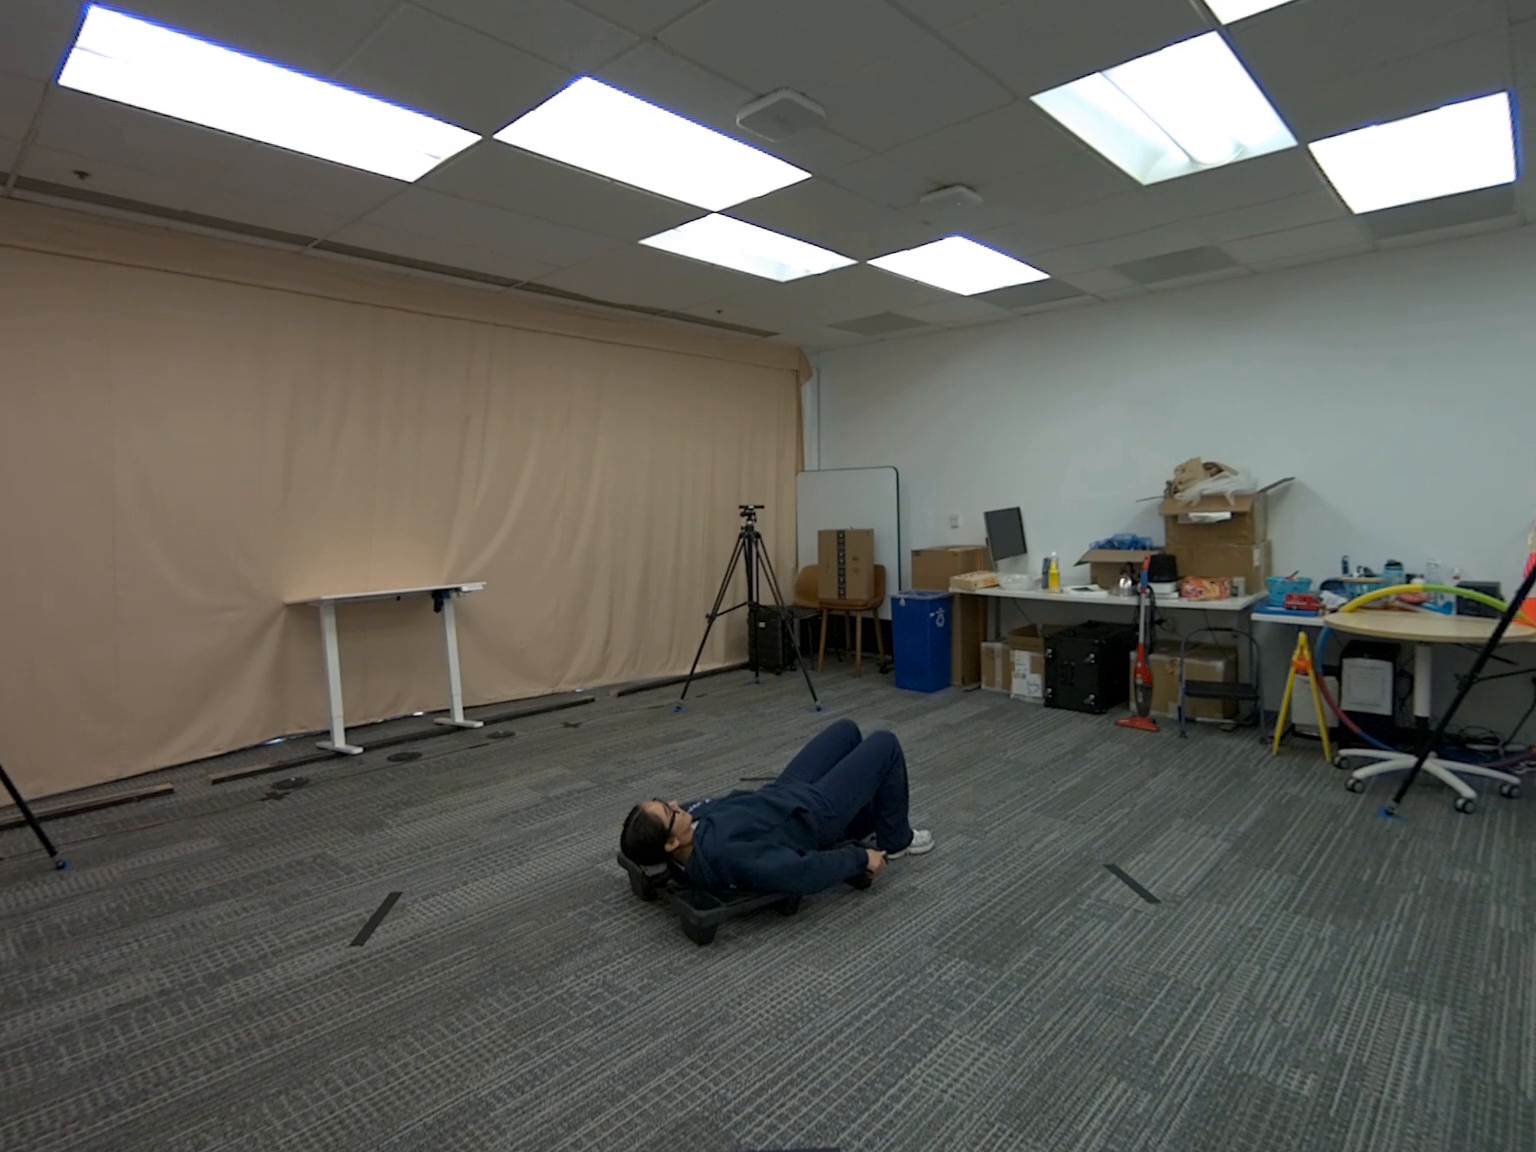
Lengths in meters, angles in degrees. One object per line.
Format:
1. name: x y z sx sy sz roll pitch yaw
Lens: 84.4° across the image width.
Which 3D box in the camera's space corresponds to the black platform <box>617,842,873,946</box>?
1. black platform: -0.072 1.073 3.053 0.783 0.143 0.624 -4 6 -34
